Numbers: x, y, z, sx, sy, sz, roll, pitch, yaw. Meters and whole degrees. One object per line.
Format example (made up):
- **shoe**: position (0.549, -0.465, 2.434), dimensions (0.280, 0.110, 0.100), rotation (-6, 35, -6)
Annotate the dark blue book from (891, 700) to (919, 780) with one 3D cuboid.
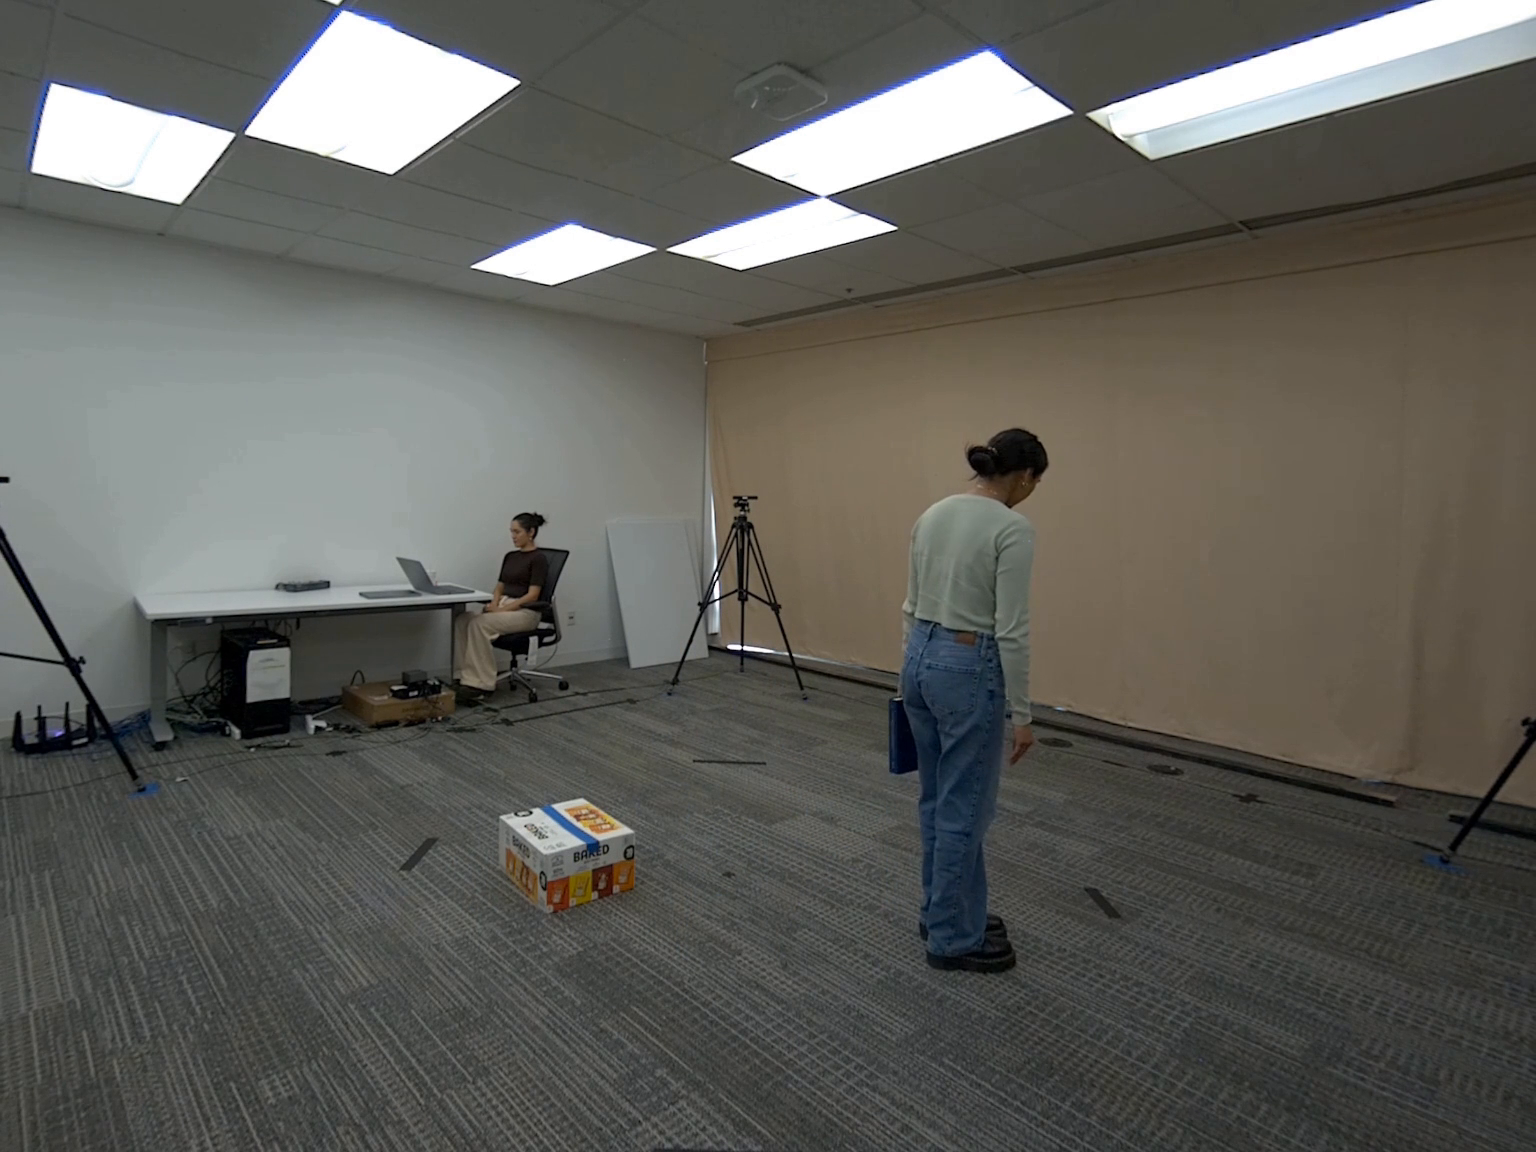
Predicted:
- **dark blue book**: position (0.483, 0.528, 2.787), dimensions (0.160, 0.245, 0.046), rotation (-2, 2, -34)
